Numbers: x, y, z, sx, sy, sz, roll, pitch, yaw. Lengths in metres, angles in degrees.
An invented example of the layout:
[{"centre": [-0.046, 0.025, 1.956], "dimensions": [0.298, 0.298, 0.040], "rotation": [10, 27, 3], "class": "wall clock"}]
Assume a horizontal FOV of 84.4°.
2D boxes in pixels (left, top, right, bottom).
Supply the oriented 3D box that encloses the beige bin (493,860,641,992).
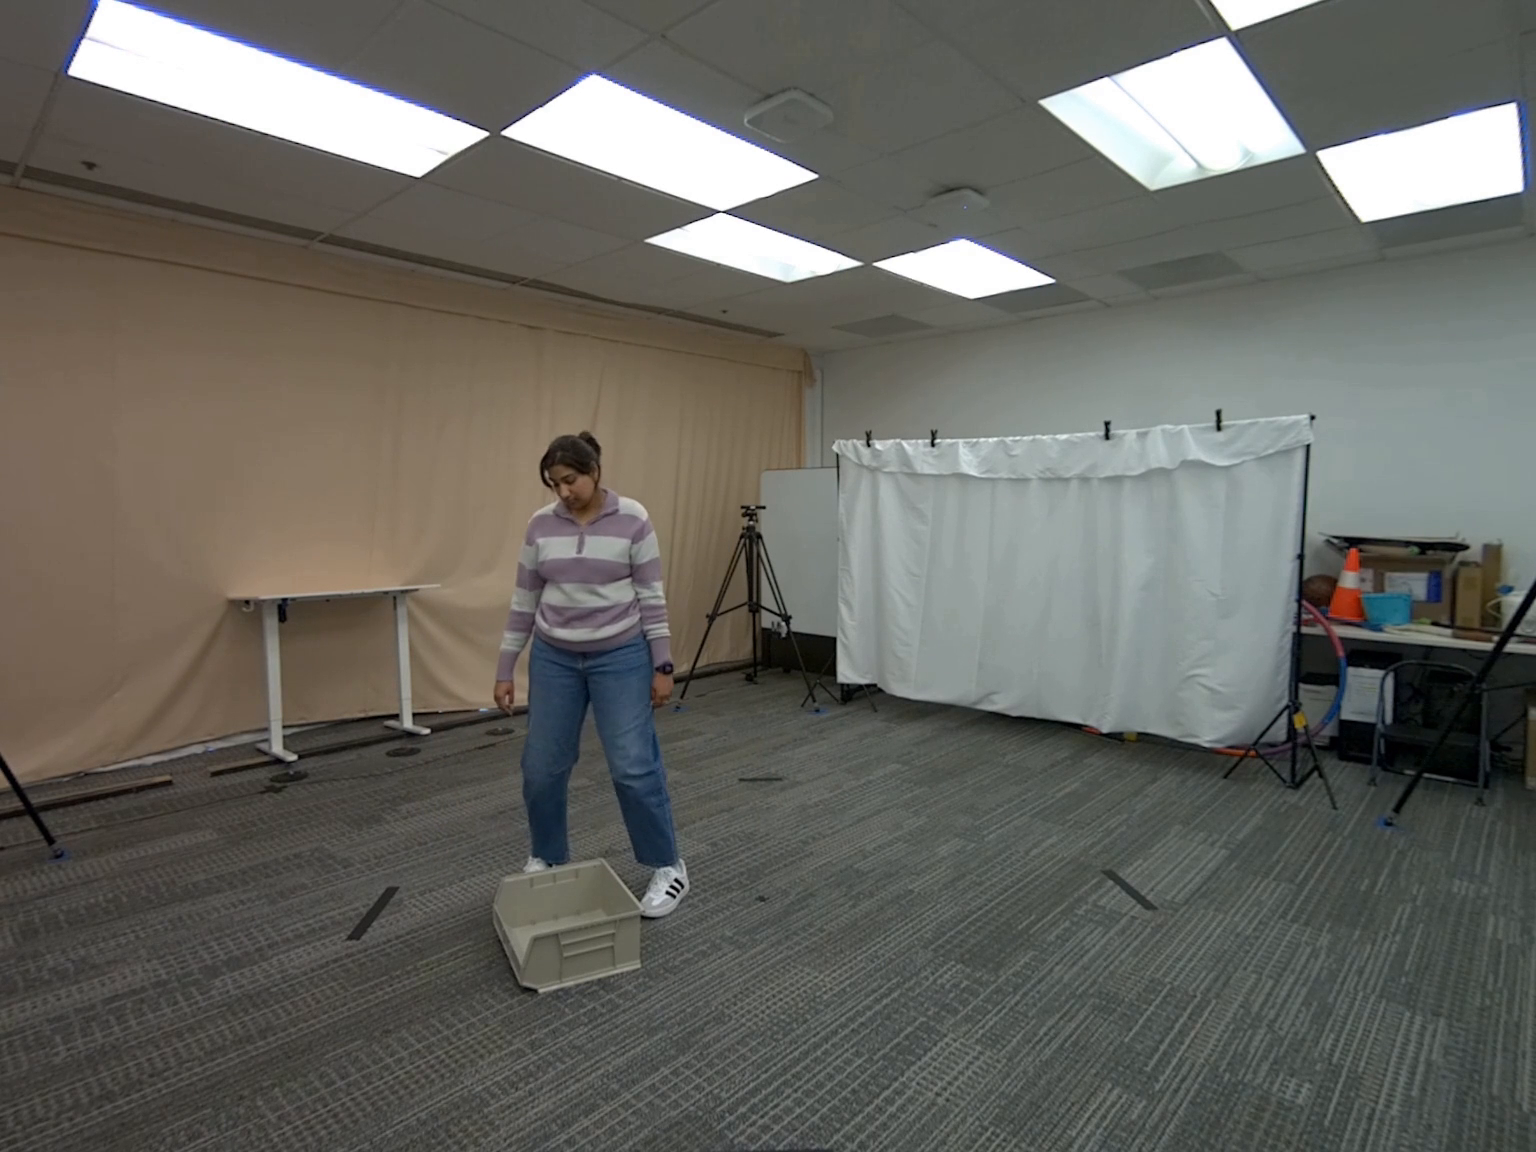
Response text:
[{"centre": [-0.635, 1.089, 2.643], "dimensions": [0.368, 0.188, 0.434], "rotation": [-2, 4, -28], "class": "beige bin"}]
